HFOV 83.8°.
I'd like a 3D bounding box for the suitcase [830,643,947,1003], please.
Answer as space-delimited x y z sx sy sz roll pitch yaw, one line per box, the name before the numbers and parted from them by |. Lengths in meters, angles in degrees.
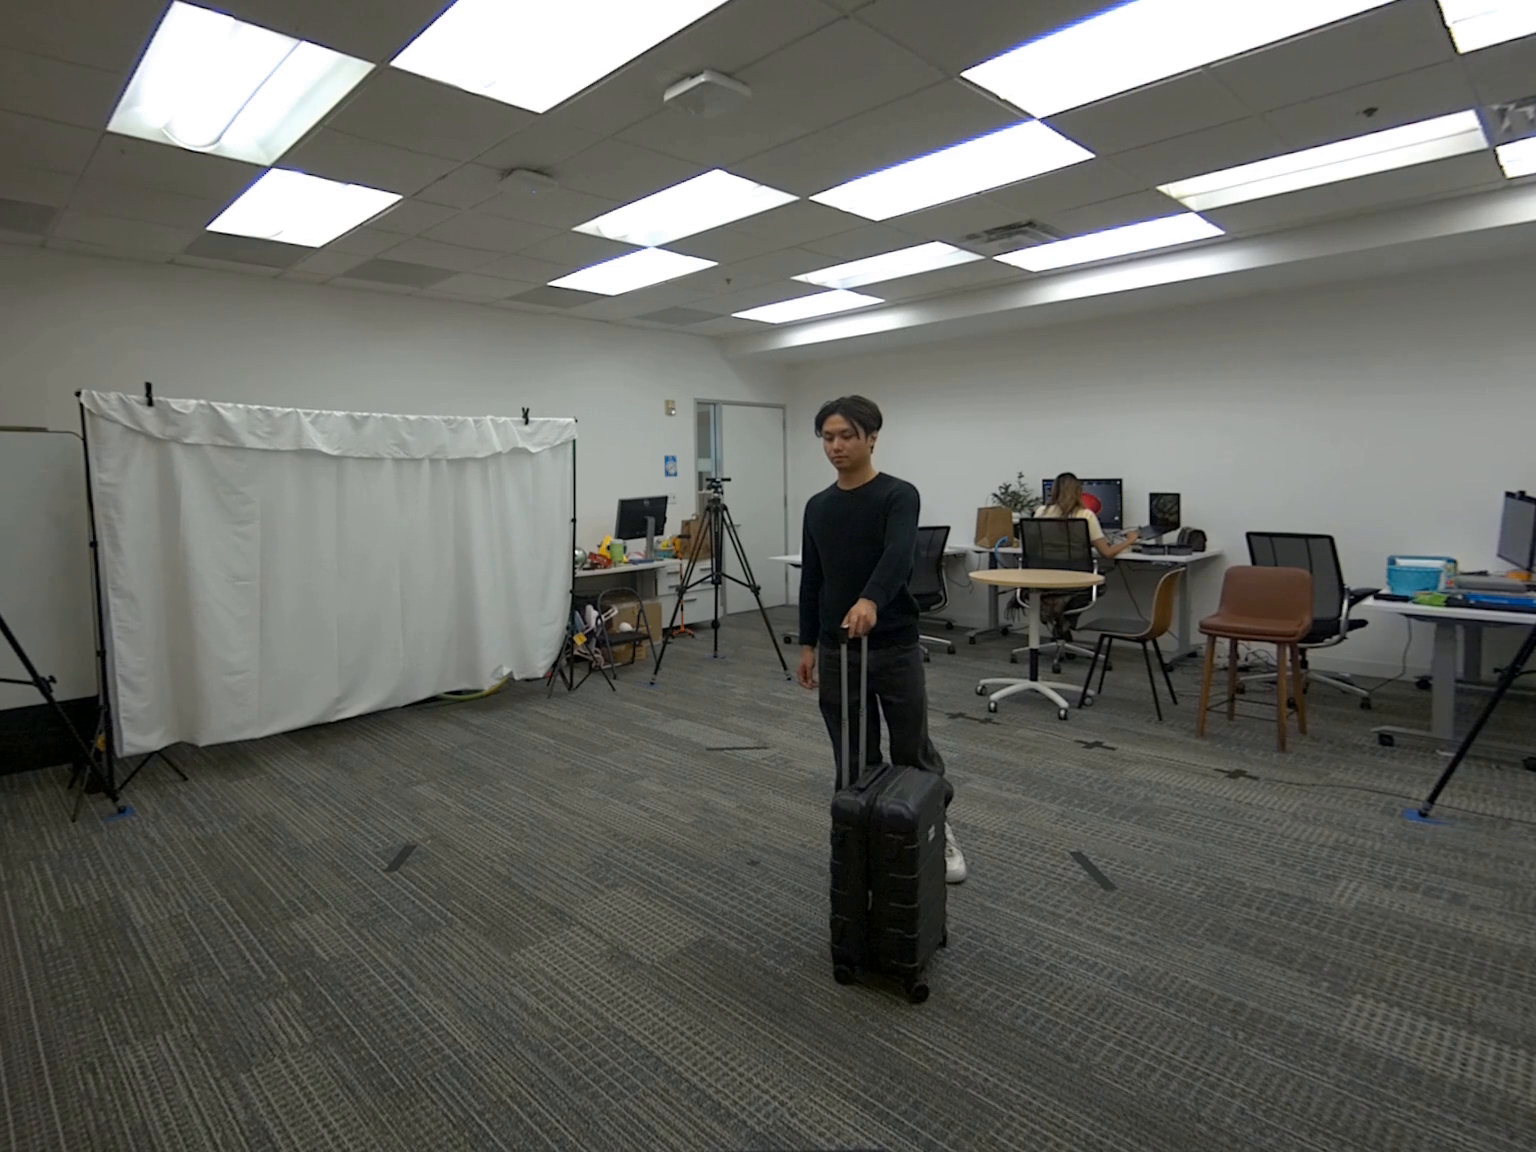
suitcase | 0.349 0.639 2.423 0.263 0.975 0.376 2 5 25
